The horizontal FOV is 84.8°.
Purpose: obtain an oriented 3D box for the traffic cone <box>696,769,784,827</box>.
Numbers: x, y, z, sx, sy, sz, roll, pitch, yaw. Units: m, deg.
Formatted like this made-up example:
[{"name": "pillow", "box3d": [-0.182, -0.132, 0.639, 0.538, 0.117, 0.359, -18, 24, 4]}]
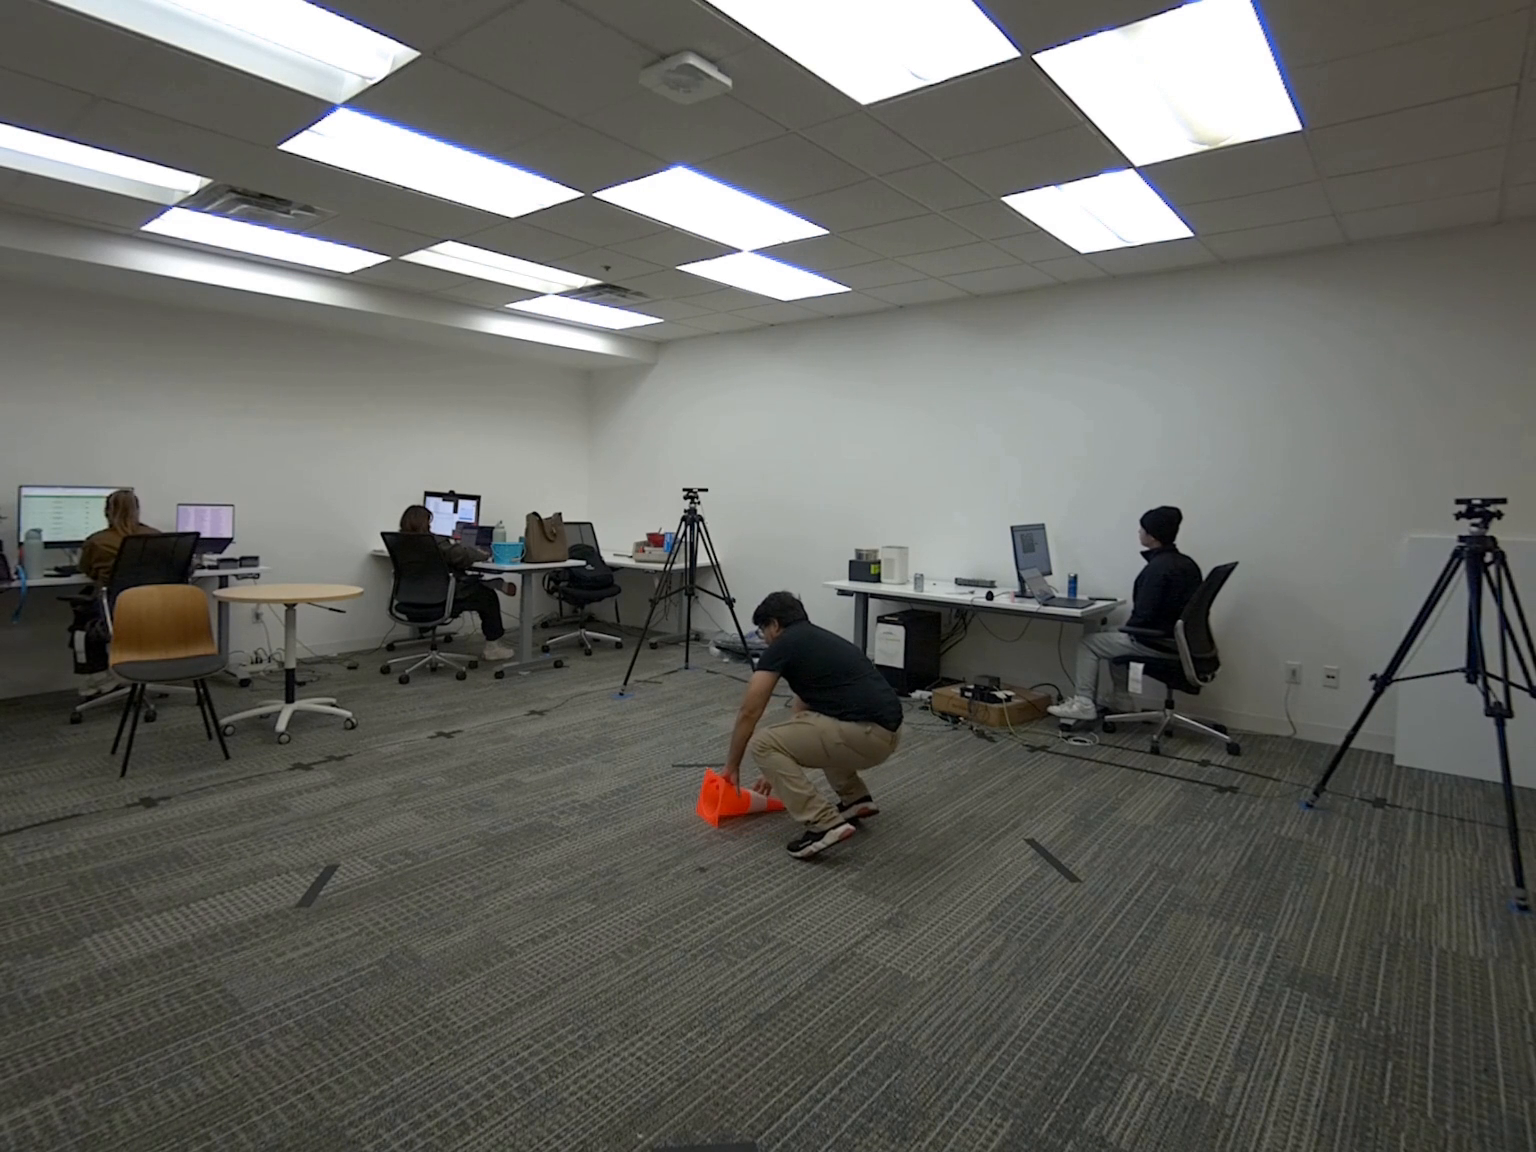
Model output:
[{"name": "traffic cone", "box3d": [-0.091, 0.976, 3.682, 0.372, 0.203, 0.211, 13, -1, -29]}]
